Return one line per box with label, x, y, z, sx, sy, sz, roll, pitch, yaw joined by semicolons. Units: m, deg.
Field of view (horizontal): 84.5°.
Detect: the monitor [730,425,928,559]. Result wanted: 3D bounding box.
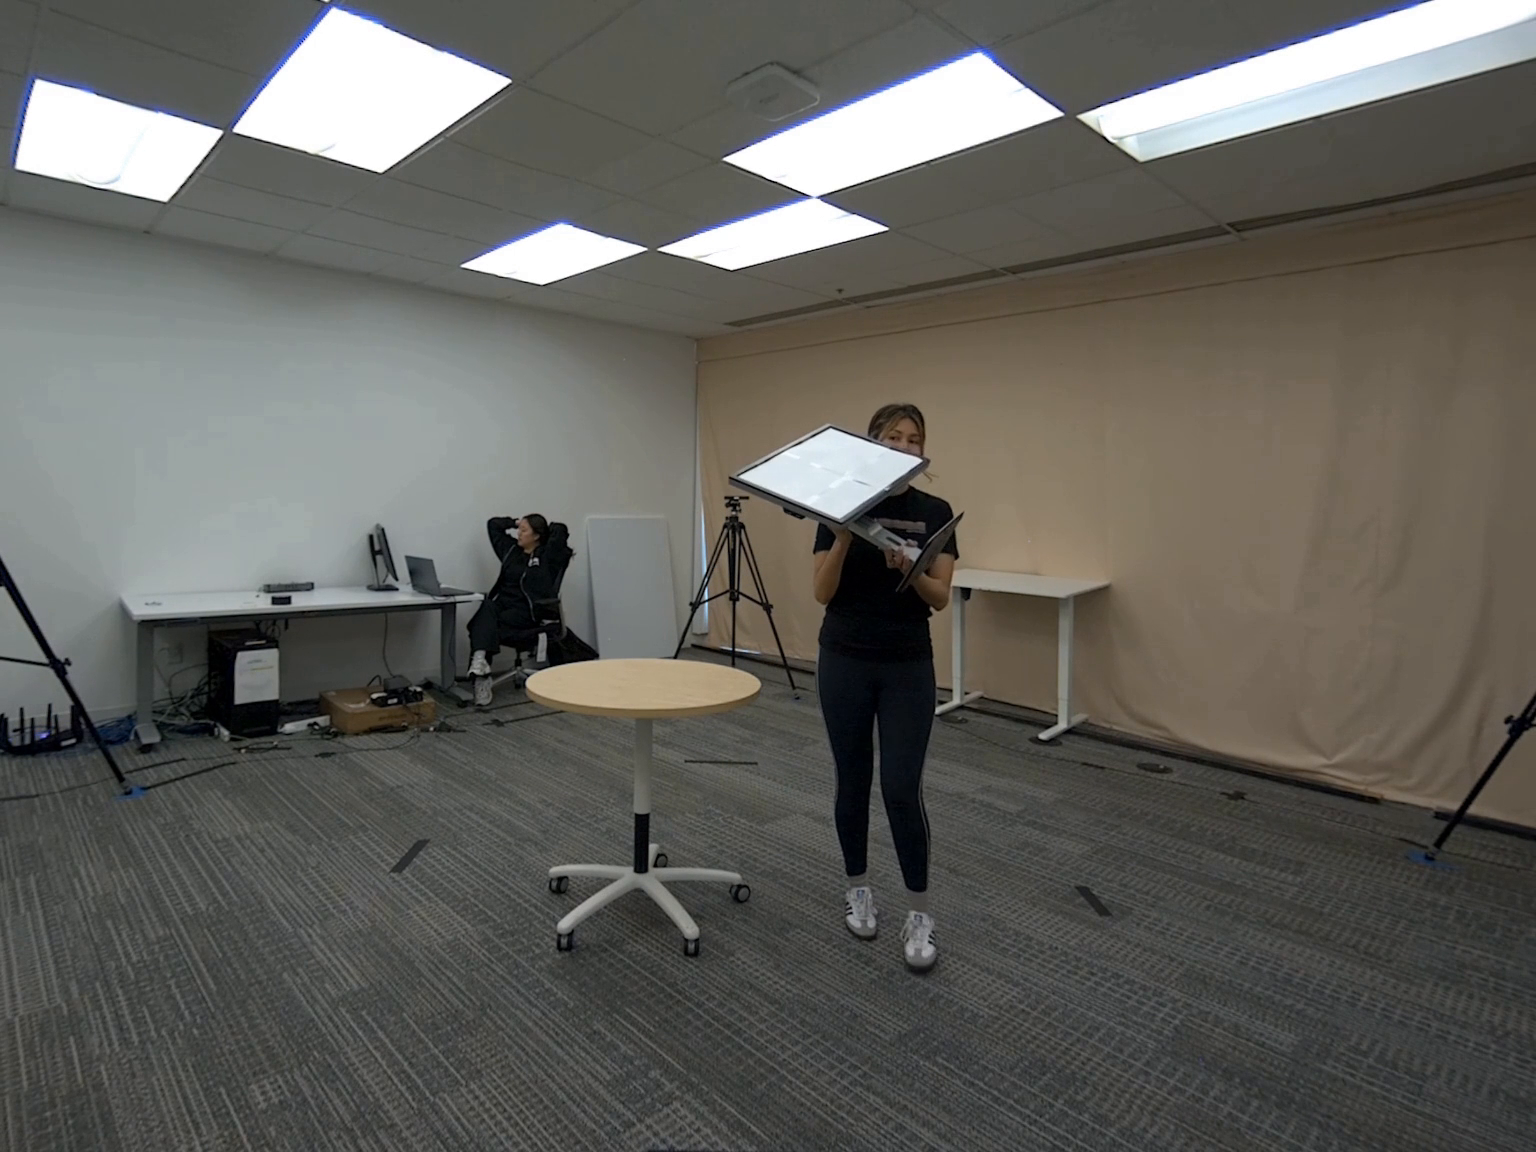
monitor;0.247;-0.216;2.418;0.533;0.185;0.534;37;38;17
